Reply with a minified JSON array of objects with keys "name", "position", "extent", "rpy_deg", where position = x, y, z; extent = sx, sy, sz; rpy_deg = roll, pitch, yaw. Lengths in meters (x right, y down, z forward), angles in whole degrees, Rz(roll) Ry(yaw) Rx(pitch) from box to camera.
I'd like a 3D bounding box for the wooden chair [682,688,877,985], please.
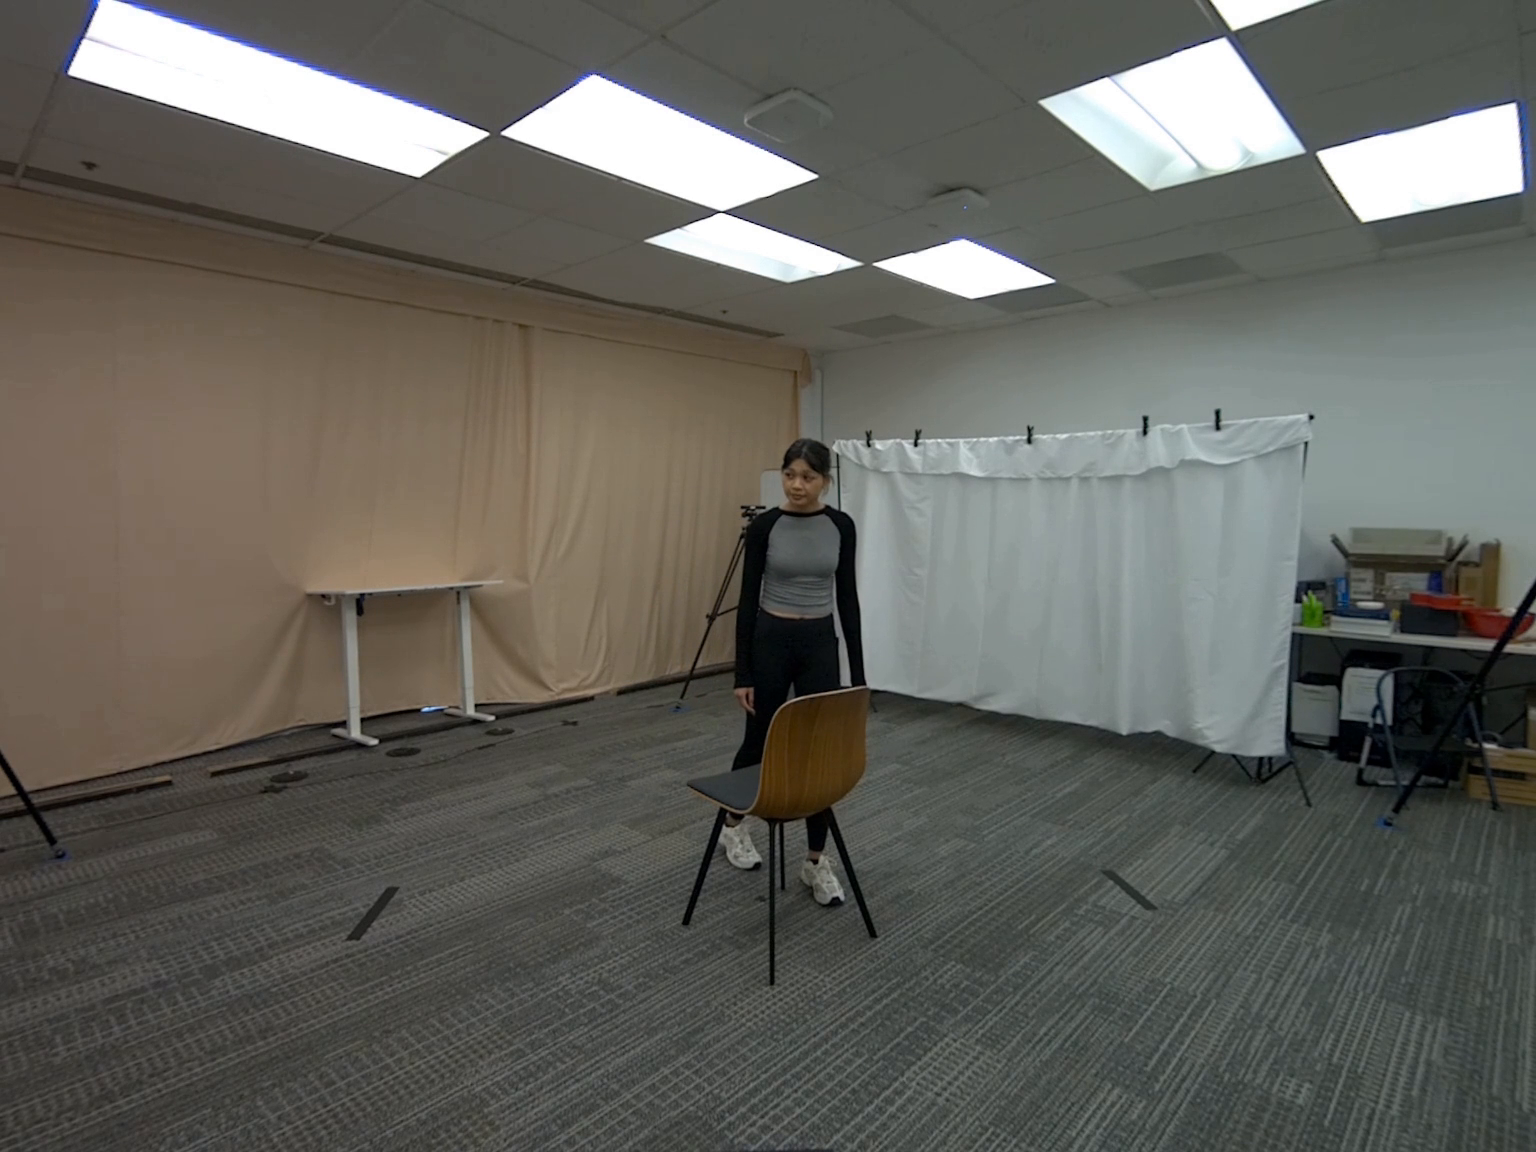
[{"name":"wooden chair","position":[0.026,0.736,2.732],"extent":[0.464,0.874,0.541],"rpy_deg":[-3,9,-39]}]
